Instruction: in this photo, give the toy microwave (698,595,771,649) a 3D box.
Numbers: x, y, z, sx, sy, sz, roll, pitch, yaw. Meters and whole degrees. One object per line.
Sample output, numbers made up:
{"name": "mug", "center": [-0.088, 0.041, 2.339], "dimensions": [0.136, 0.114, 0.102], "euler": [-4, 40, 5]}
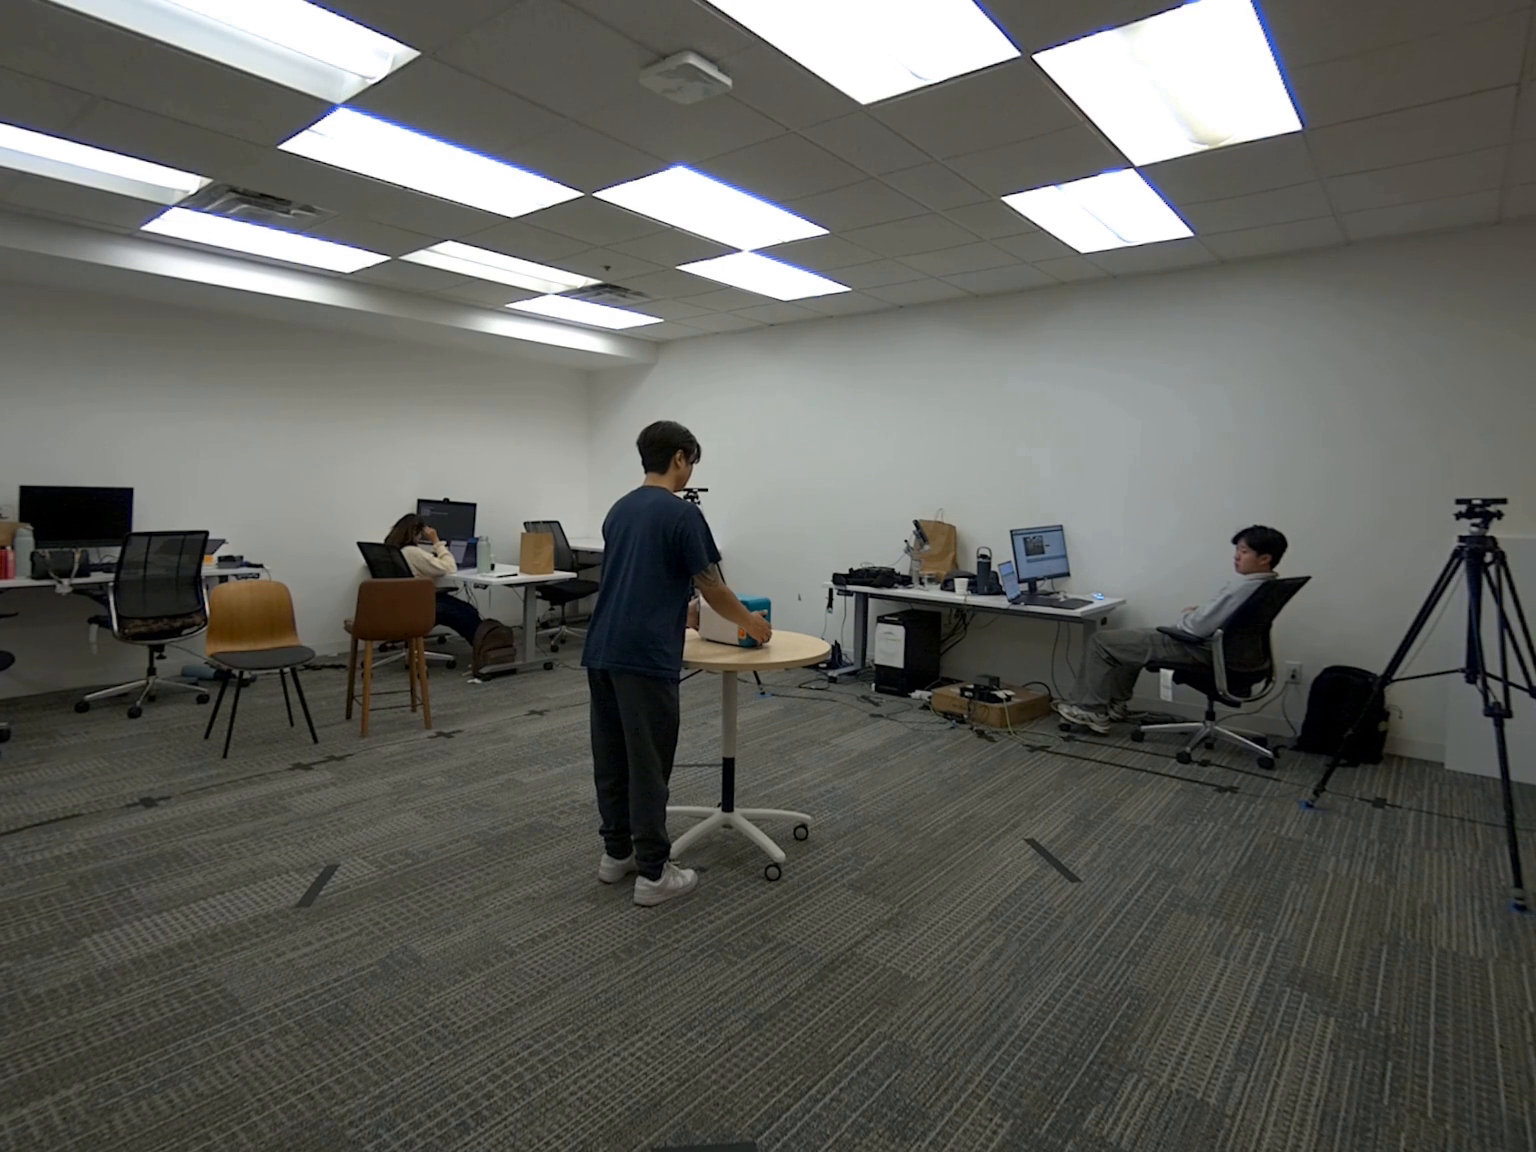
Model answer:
{"name": "toy microwave", "center": [-0.147, 0.168, 3.308], "dimensions": [0.147, 0.184, 0.296], "euler": [-1, 4, -43]}
